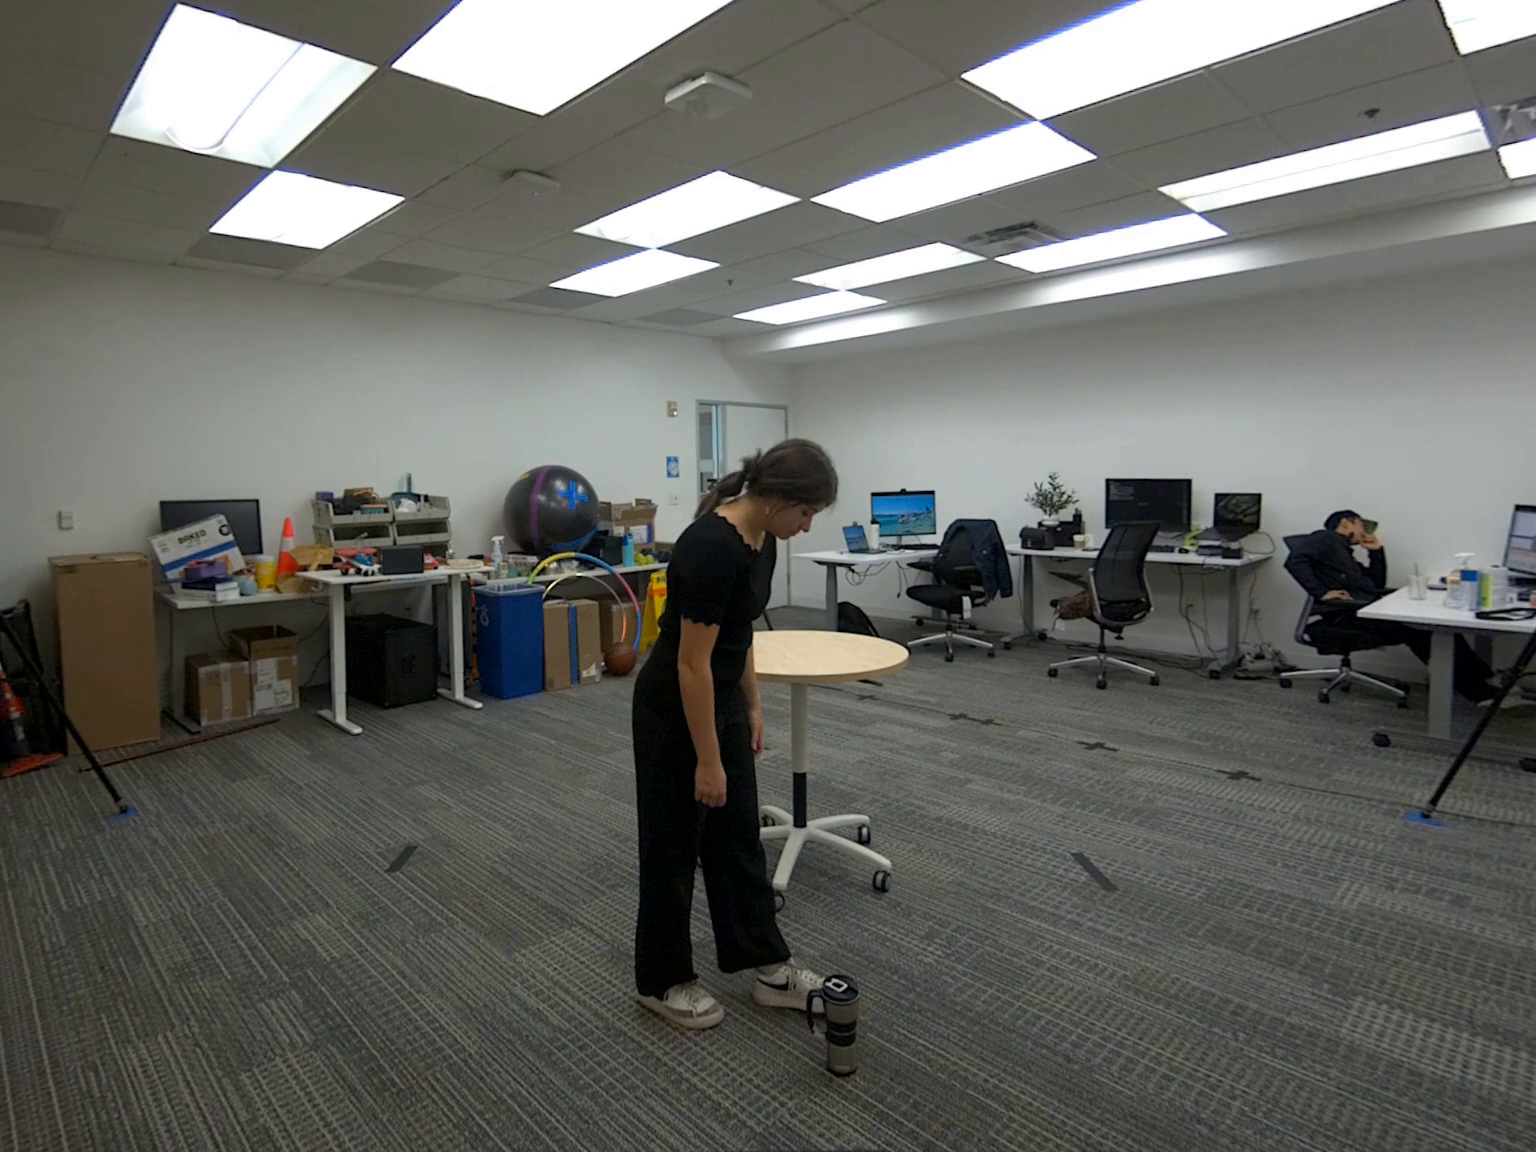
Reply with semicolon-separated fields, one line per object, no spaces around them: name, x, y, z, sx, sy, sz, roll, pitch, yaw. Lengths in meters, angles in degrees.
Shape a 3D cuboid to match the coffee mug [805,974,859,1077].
coffee mug;0.148;1.068;2.038;0.125;0.201;0.086;3;9;28
